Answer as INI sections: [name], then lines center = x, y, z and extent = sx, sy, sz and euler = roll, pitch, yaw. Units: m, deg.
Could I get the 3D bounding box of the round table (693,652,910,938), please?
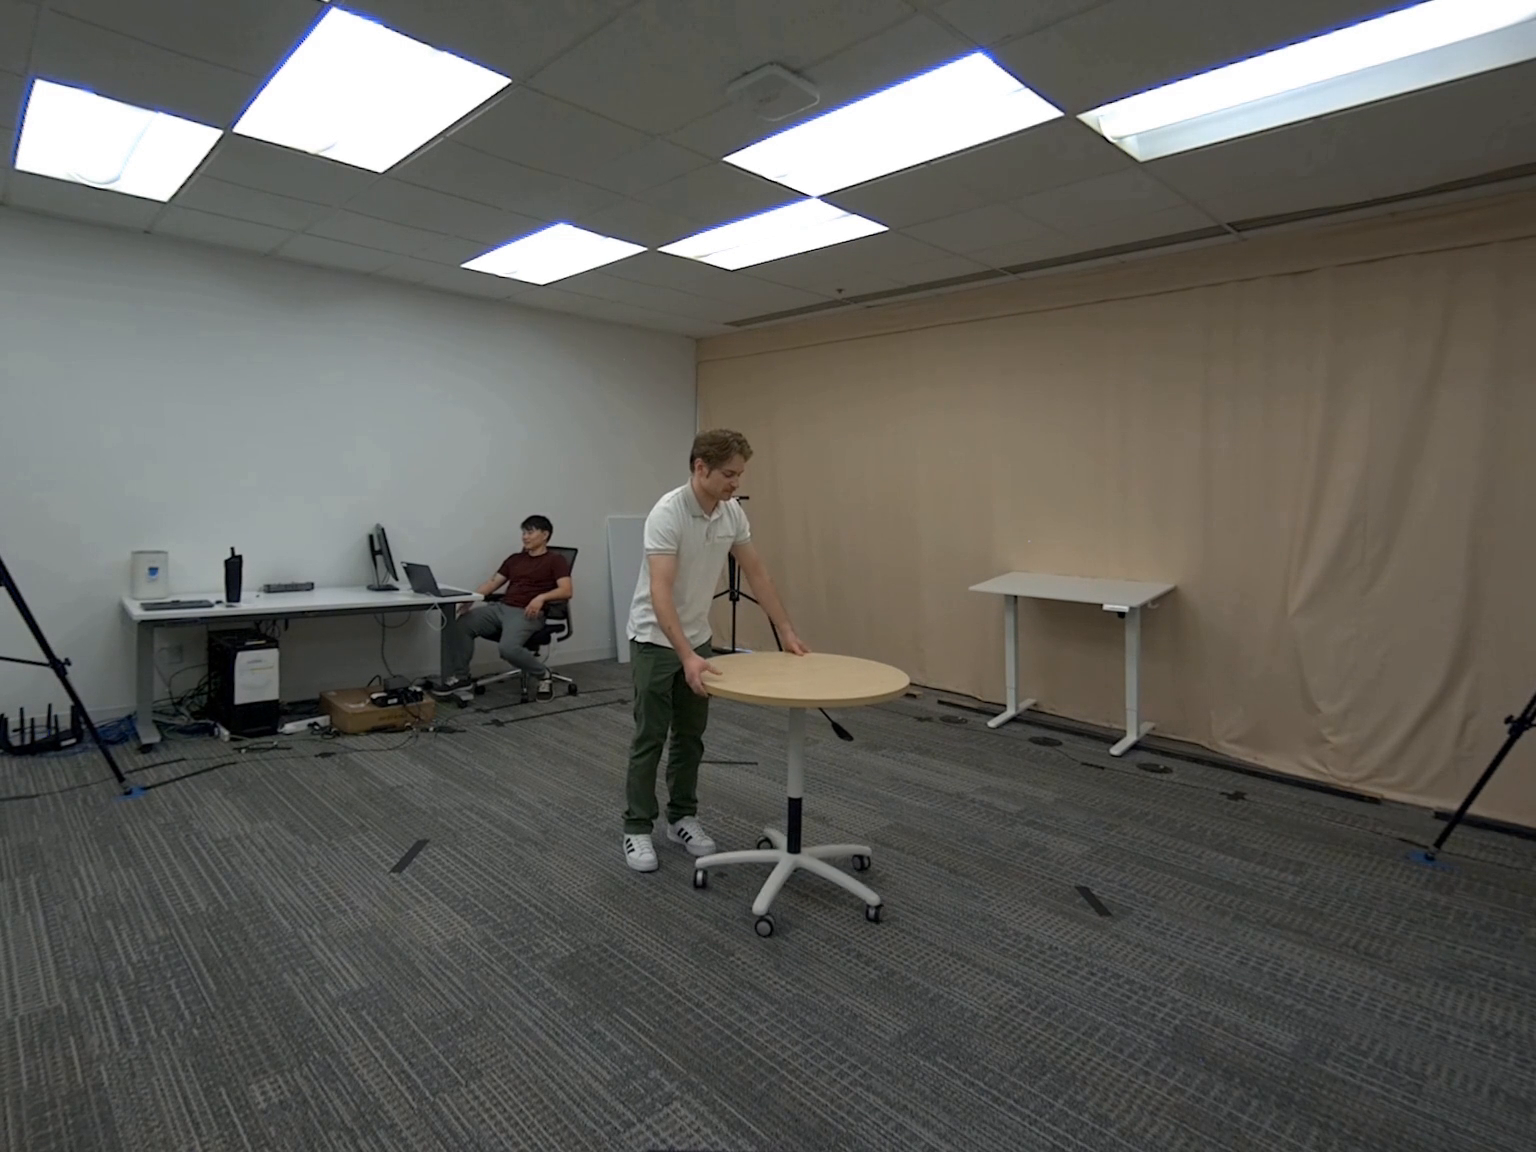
[round table]
center = 0.089, 0.731, 2.970
extent = 0.763, 0.791, 0.767
euler = 1, 5, -1
